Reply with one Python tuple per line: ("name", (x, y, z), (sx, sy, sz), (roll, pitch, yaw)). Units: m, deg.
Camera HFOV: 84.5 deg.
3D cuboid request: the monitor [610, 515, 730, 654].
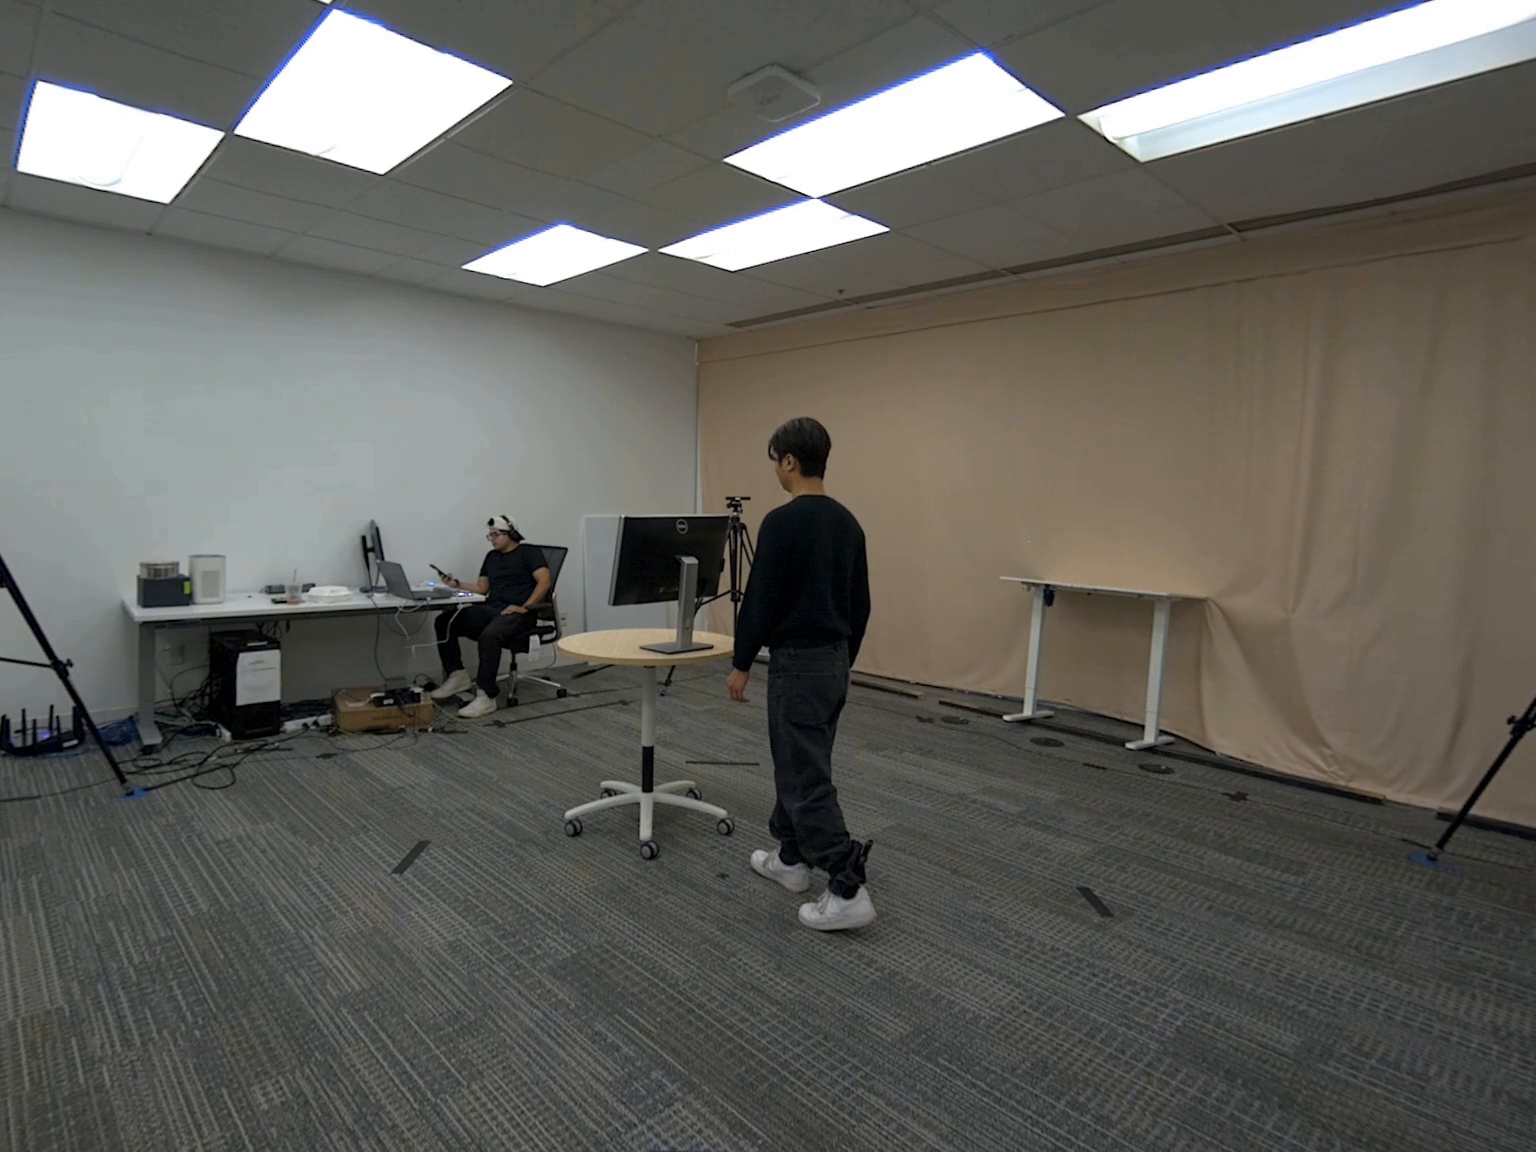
("monitor", (-0.370, 0.030, 3.393), (0.192, 0.521, 0.527), (3, 5, 42))
